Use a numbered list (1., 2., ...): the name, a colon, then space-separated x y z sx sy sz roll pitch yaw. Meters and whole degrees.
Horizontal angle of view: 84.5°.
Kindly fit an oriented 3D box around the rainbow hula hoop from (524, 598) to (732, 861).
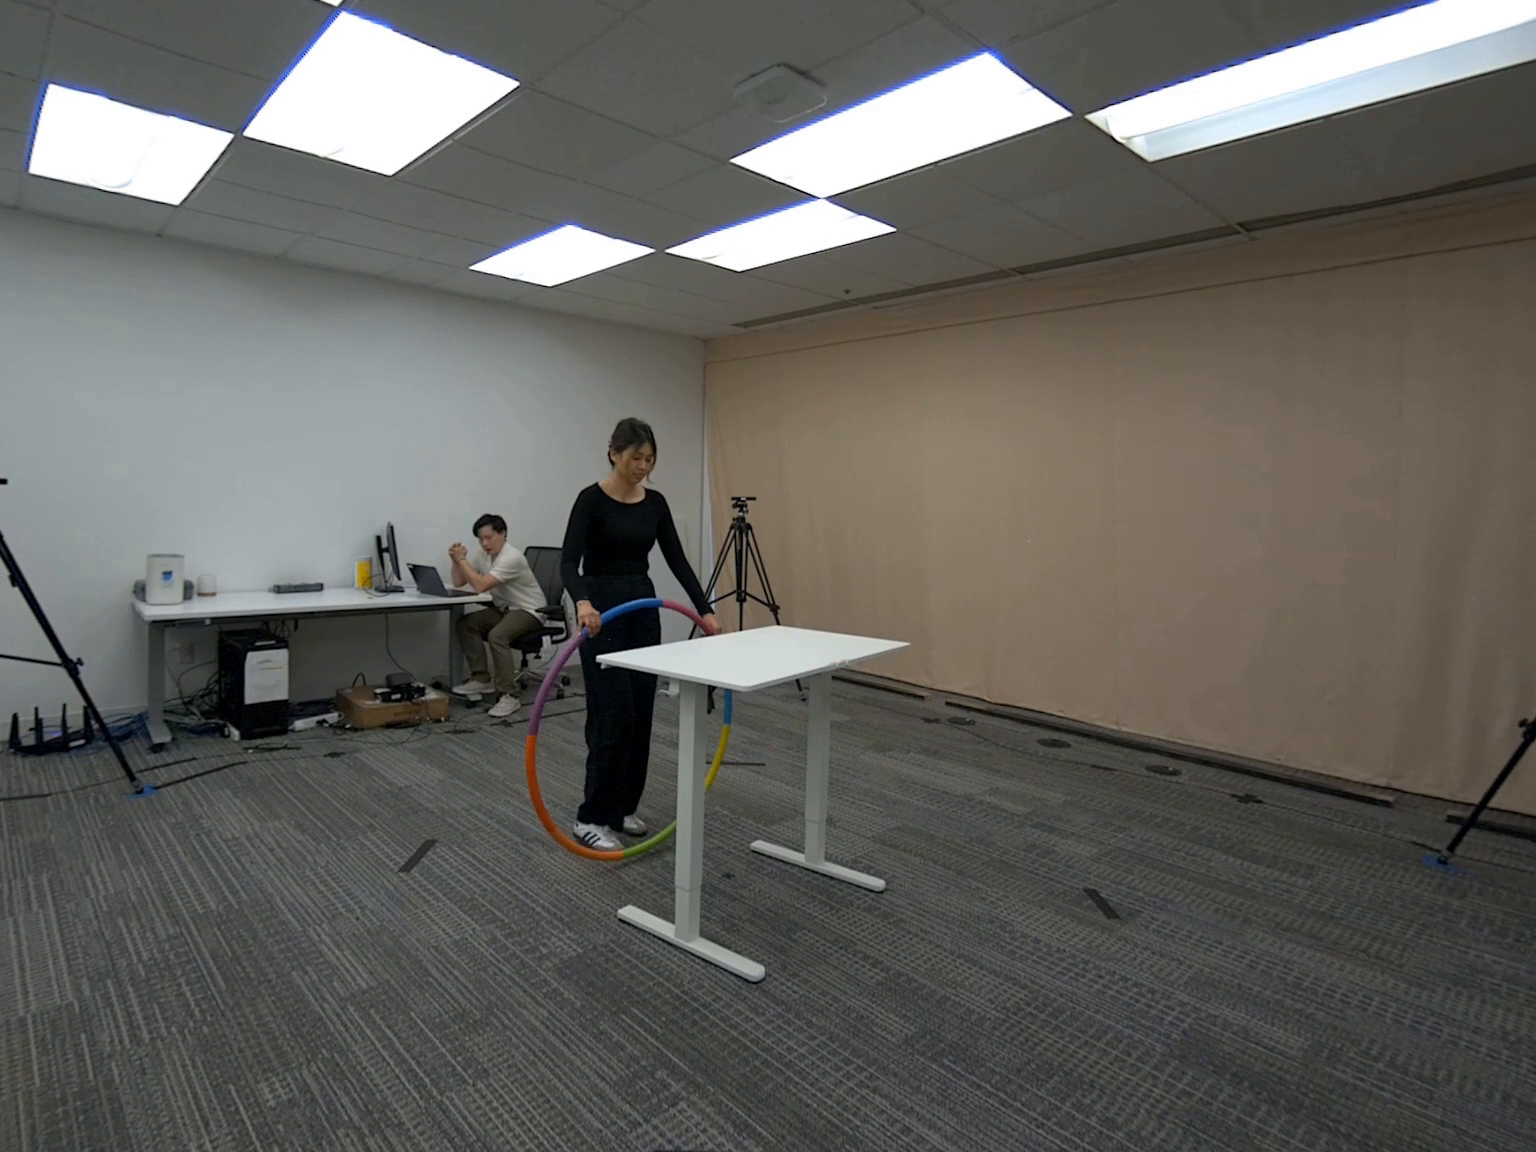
1. rainbow hula hoop: -0.499 0.576 3.174 0.036 0.975 0.956 9 8 43
